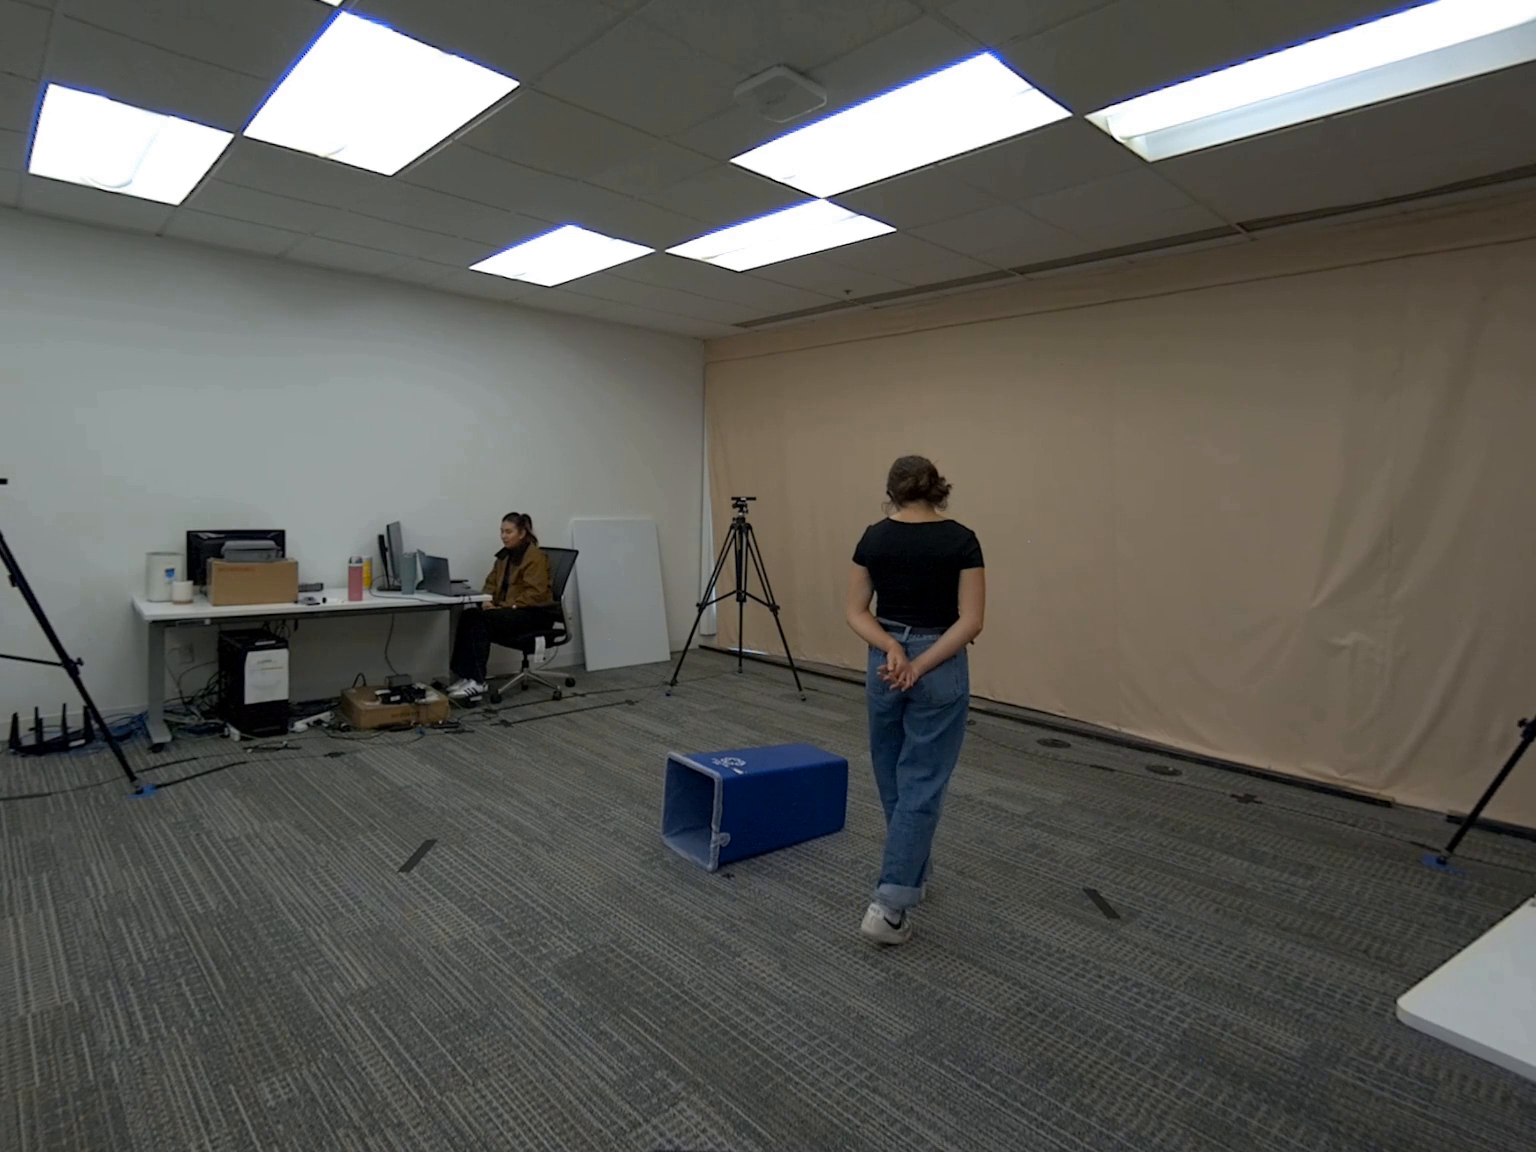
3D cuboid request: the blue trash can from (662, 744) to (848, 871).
[{"bbox_3d":[-0.045,0.911,3.468,0.696,0.378,0.383,2,3,-39],"label":"blue trash can"}]
